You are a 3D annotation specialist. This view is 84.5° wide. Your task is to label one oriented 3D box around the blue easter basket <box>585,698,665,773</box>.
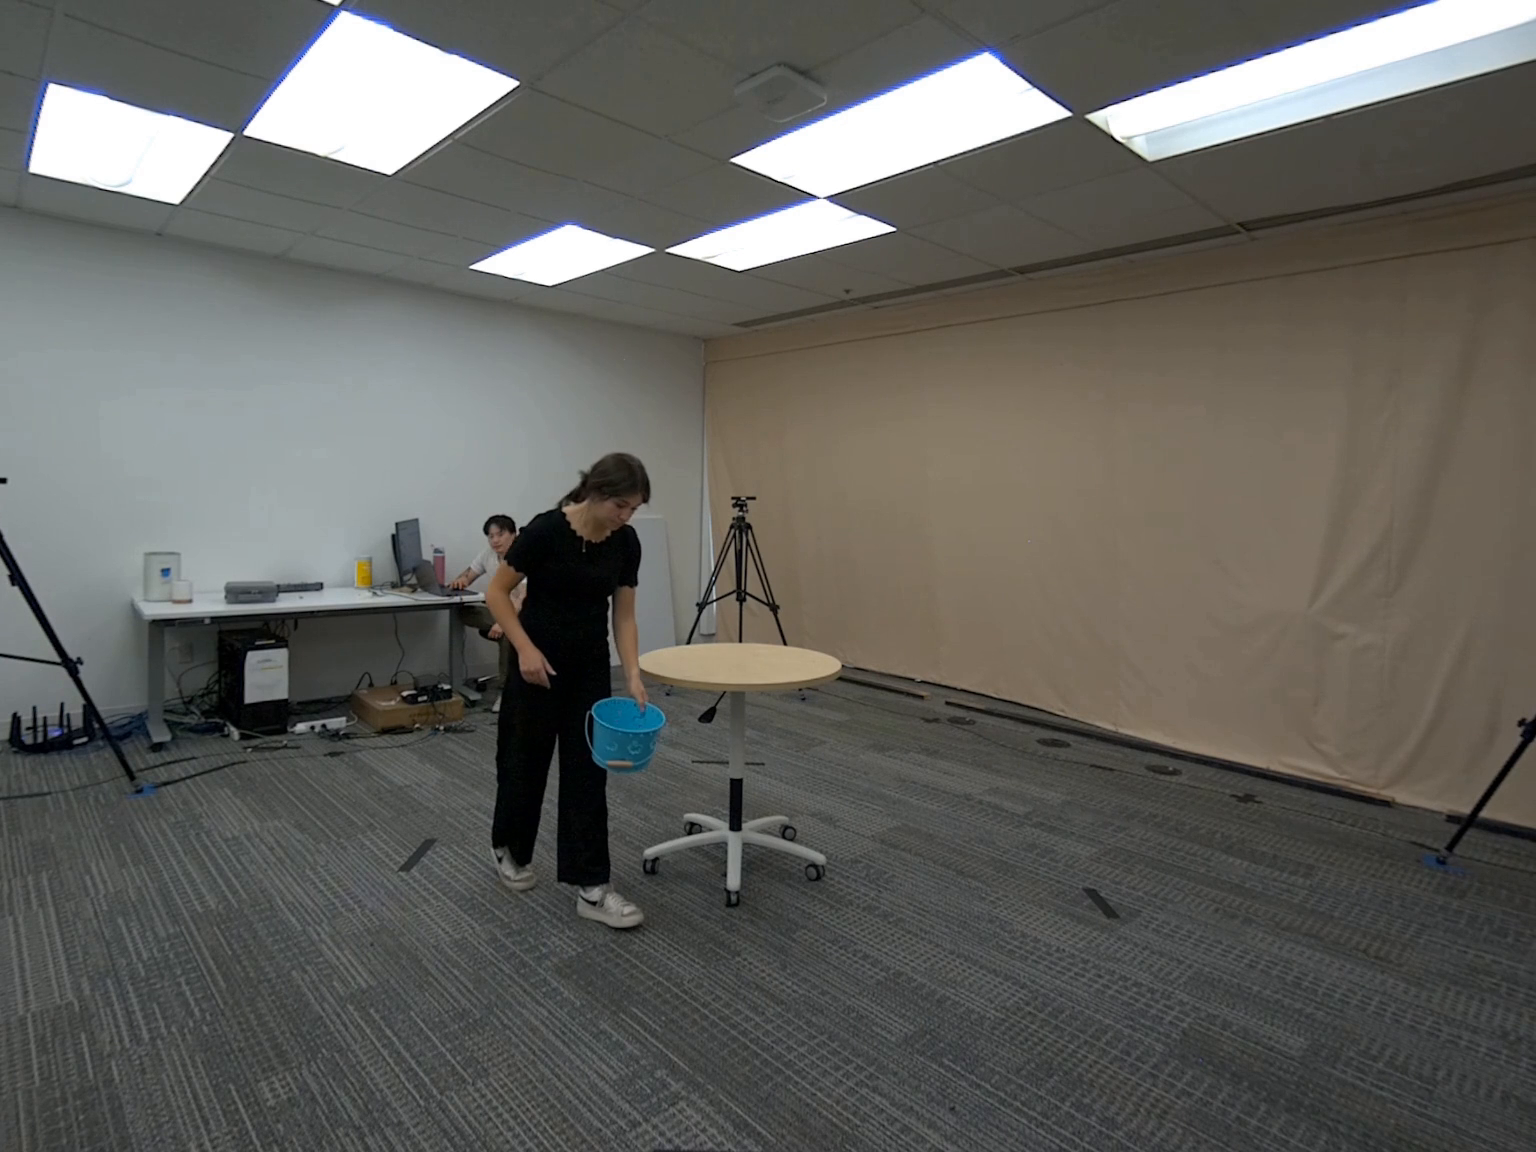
[{"bbox_3d":[-0.469,0.503,2.615,0.243,0.155,0.246,10,13,-4],"label":"blue easter basket"}]
